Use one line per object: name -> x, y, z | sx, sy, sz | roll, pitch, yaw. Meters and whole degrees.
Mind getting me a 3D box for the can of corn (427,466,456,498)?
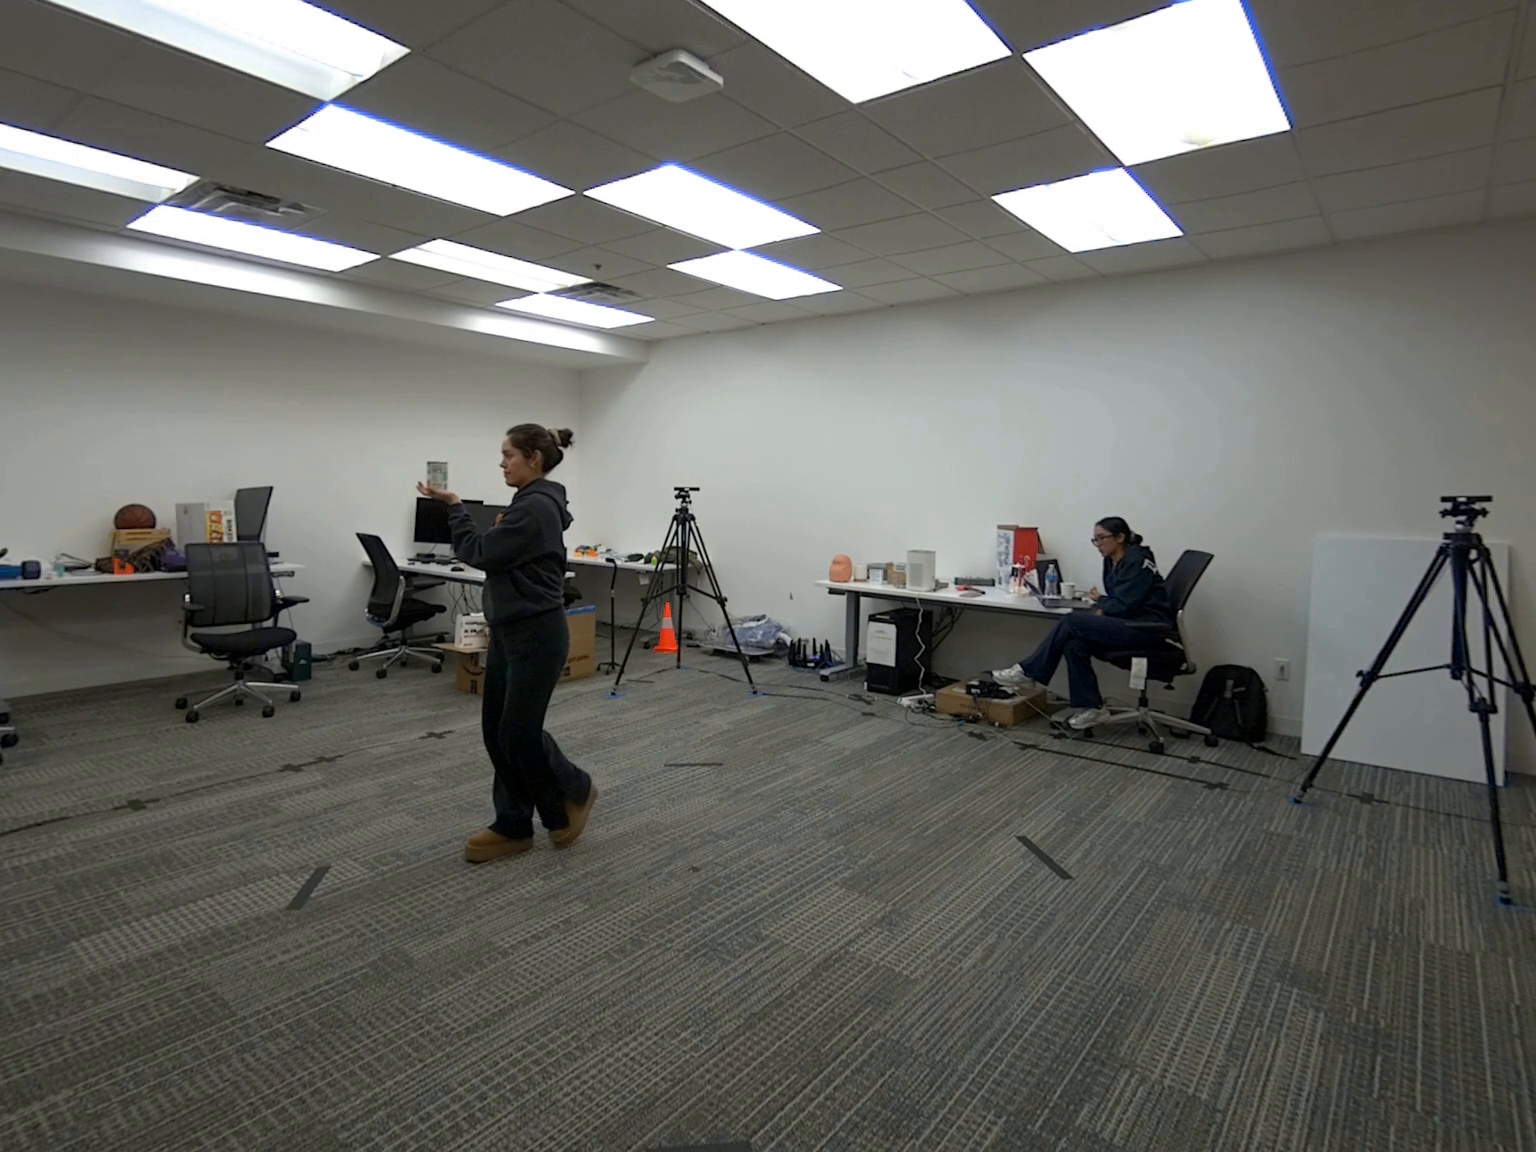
can of corn -> -1.199, -0.347, 3.081 | 0.074, 0.110, 0.075 | -1, 6, -2
